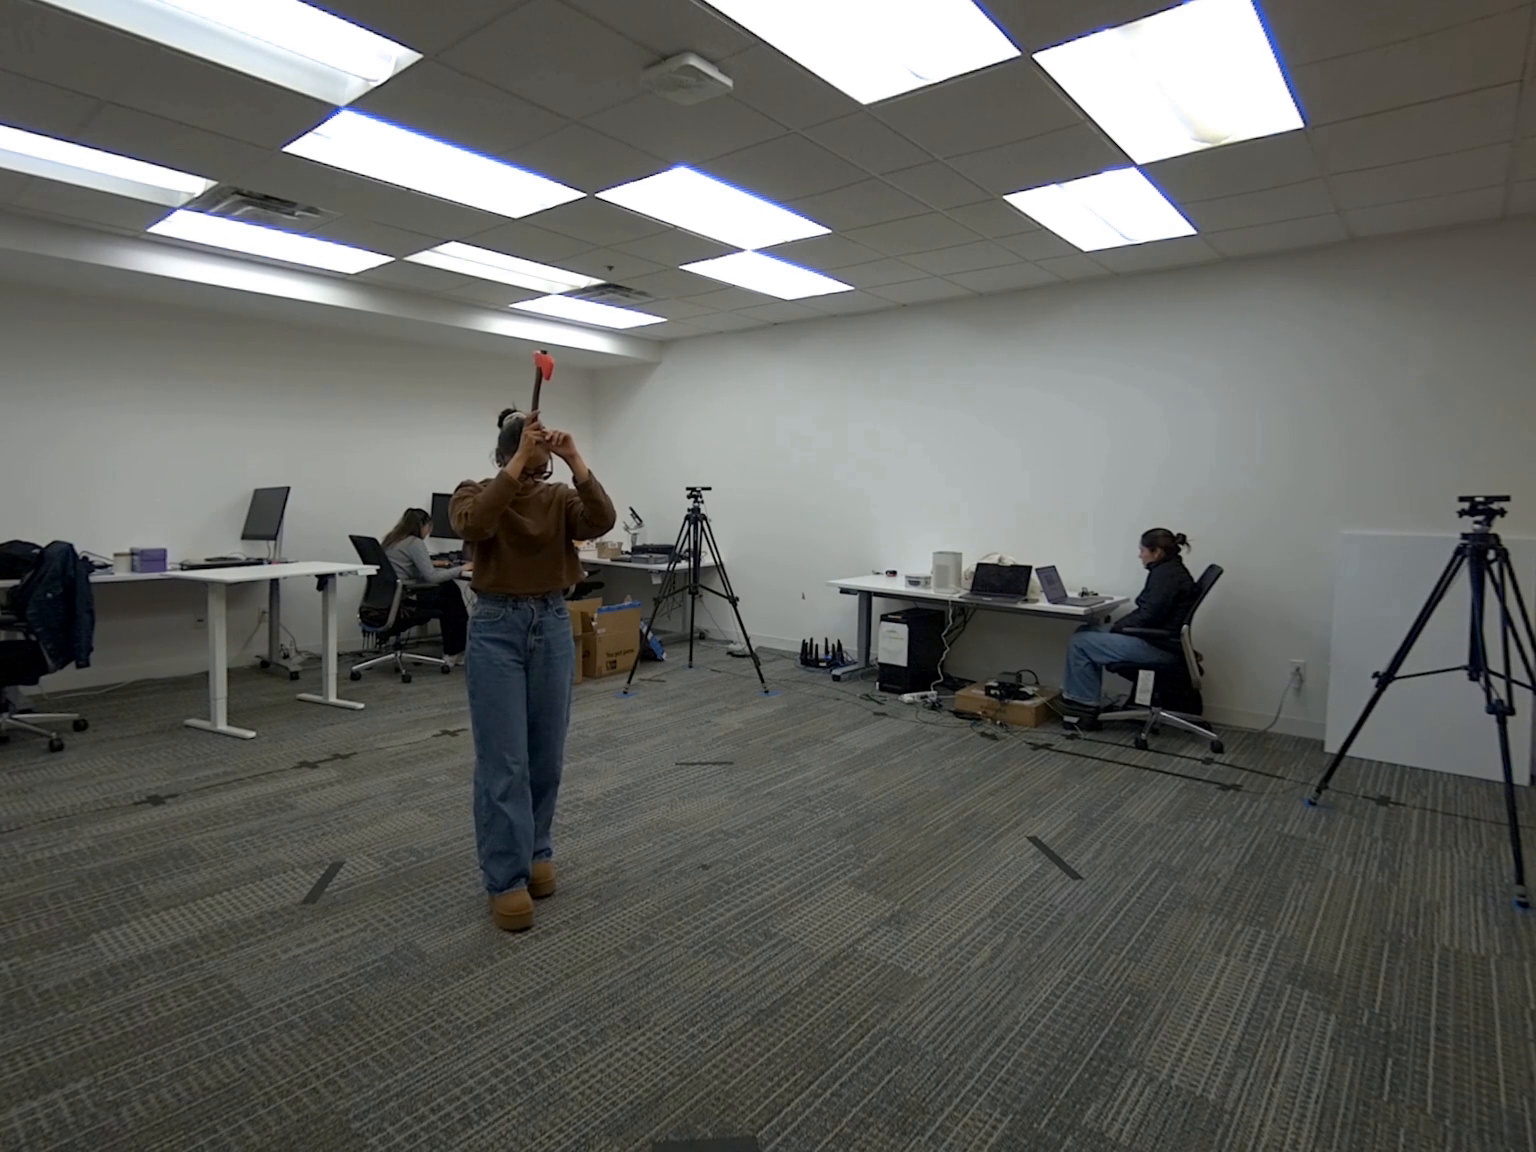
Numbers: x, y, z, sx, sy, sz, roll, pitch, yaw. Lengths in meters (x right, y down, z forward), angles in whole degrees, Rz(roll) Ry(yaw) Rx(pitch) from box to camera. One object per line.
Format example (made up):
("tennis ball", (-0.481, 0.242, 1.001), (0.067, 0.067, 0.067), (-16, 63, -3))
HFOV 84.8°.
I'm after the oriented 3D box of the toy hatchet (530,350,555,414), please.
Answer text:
("toy hatchet", (-0.695, -0.556, 2.580), (0.029, 0.269, 0.136), (-3, 7, -42))
